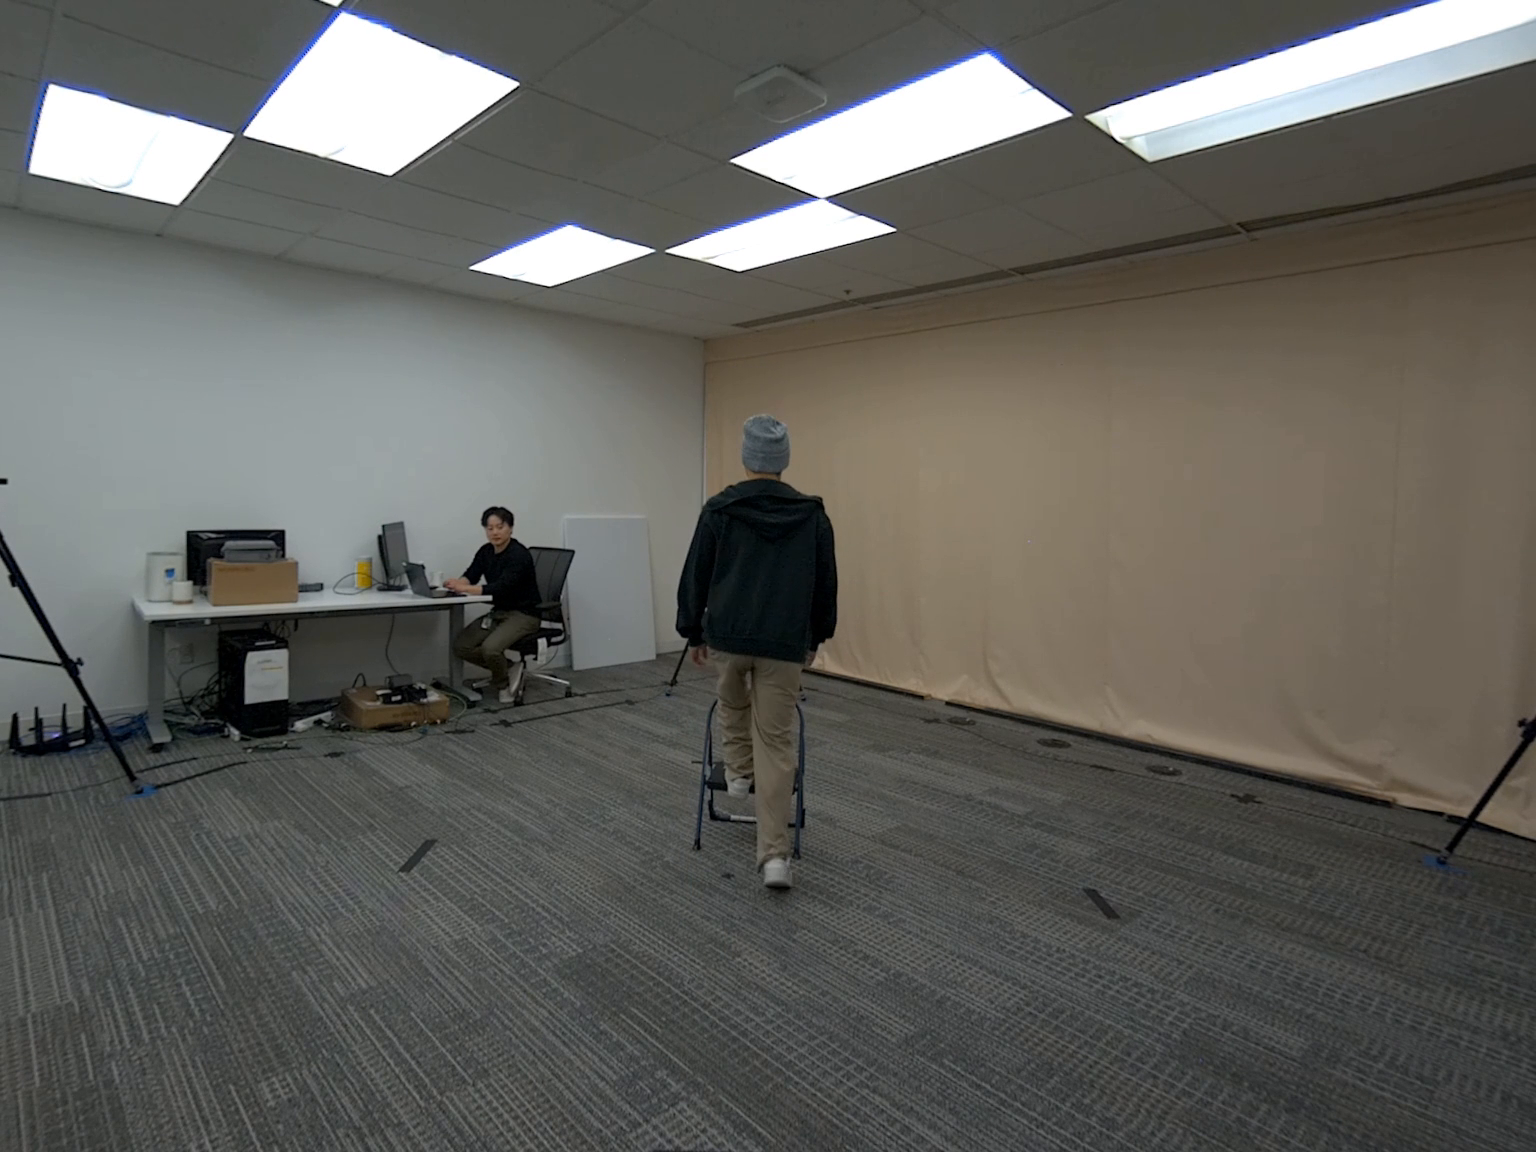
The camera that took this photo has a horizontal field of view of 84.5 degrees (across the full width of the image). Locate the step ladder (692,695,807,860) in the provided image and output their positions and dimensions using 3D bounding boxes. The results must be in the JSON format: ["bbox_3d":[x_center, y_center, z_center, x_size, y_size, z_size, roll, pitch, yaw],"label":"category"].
[{"bbox_3d":[-0.067,0.780,3.453,0.433,0.604,0.348,2,4,7],"label":"step ladder"}]
